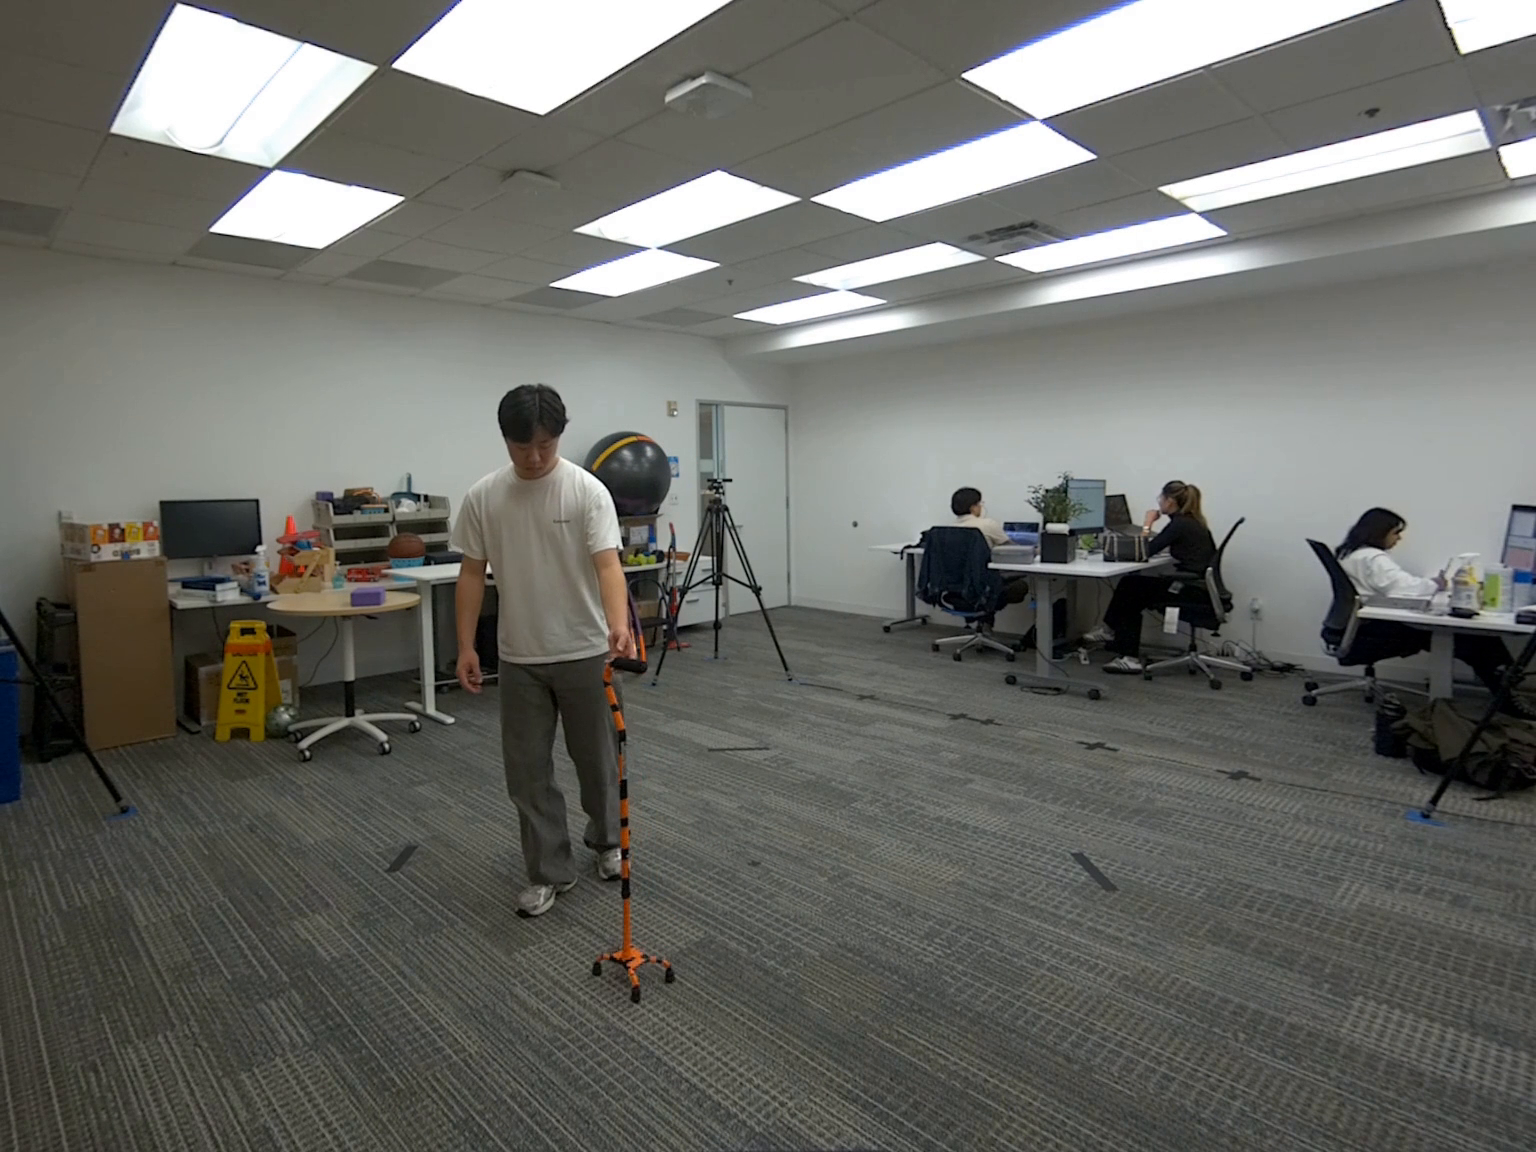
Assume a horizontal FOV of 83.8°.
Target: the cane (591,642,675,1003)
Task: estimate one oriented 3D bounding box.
[{"bbox_3d":[-0.390,0.682,2.412,0.147,0.906,0.212,-3,3,-45],"label":"cane"}]
